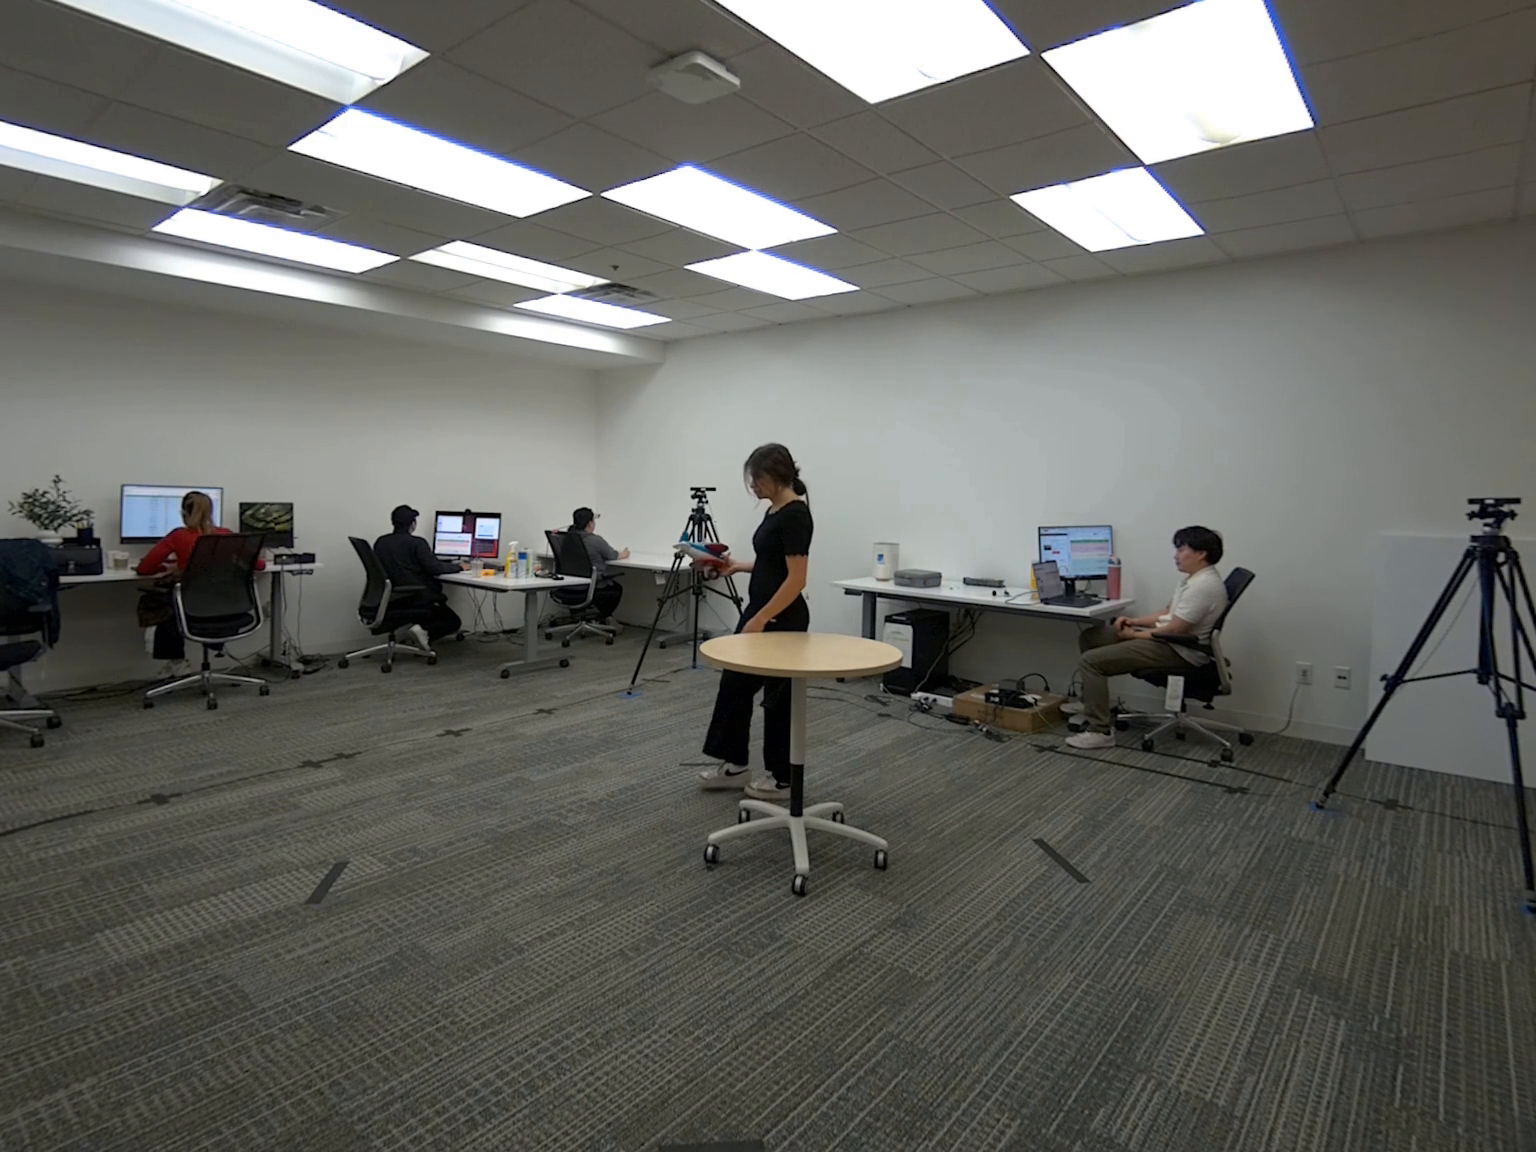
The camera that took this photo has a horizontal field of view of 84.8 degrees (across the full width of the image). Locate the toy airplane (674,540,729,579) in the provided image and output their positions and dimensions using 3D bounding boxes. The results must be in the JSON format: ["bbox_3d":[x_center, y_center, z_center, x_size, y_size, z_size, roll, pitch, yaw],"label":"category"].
[{"bbox_3d":[-0.312,-0.099,3.954,0.260,0.157,0.248,11,-29,35],"label":"toy airplane"}]
